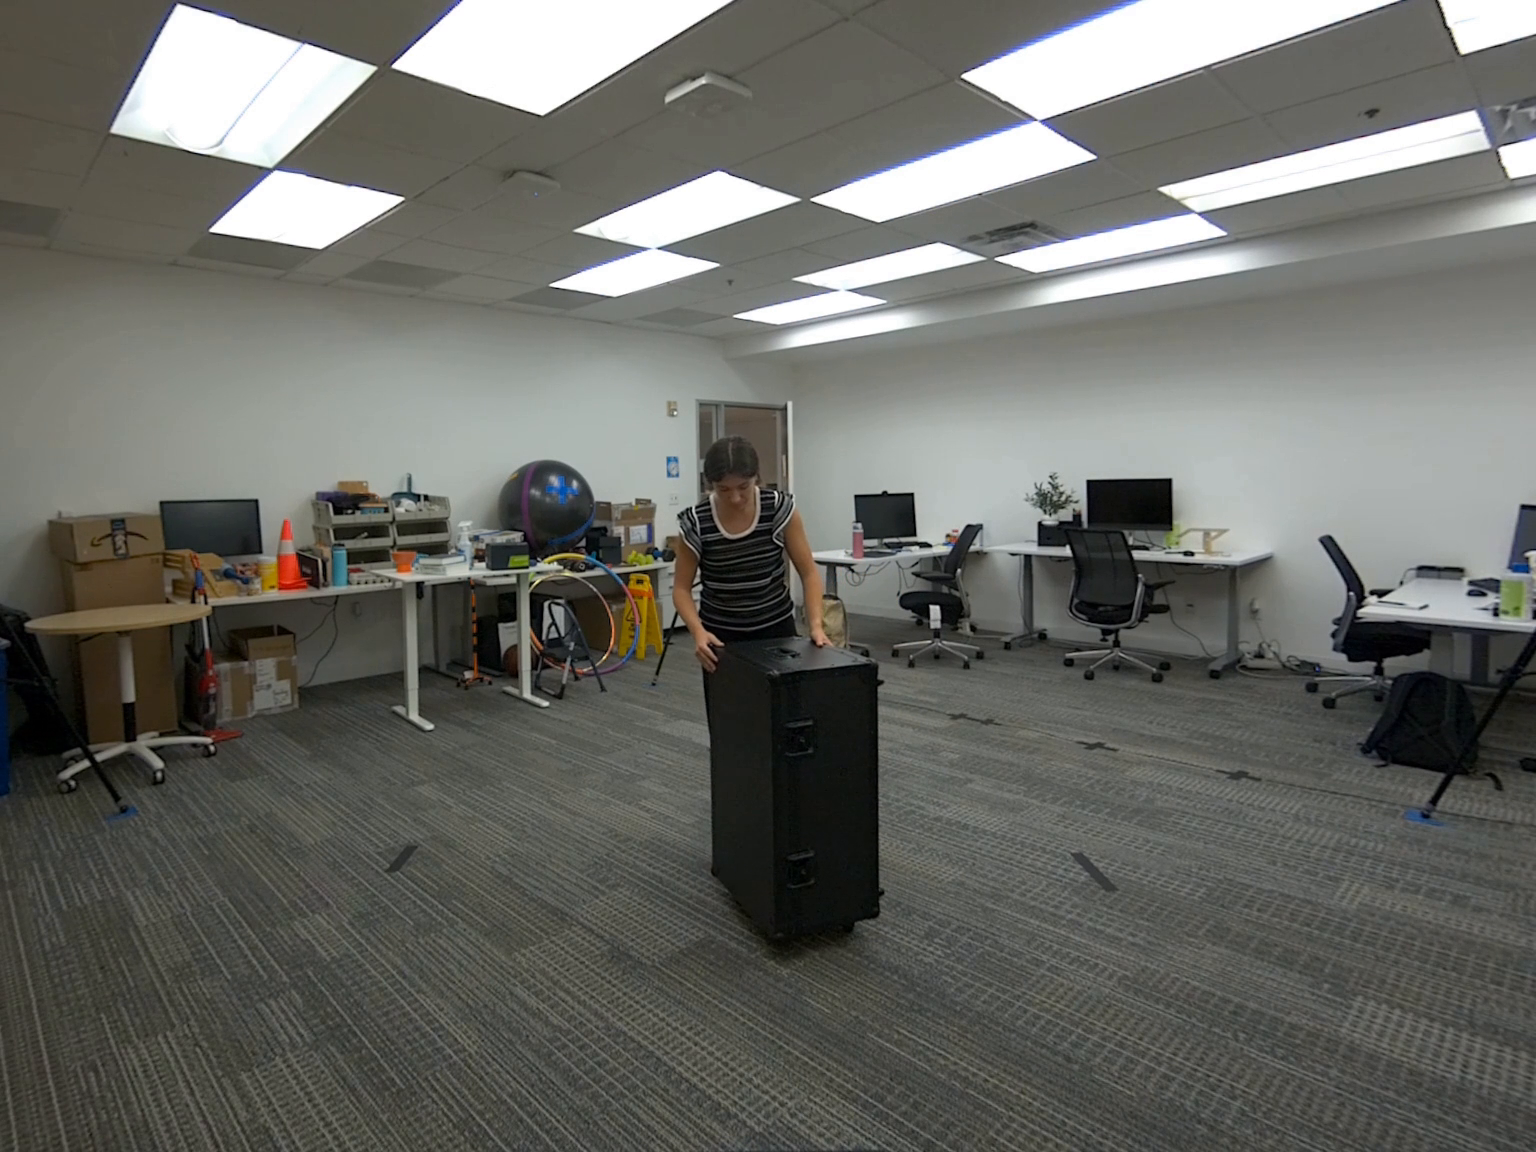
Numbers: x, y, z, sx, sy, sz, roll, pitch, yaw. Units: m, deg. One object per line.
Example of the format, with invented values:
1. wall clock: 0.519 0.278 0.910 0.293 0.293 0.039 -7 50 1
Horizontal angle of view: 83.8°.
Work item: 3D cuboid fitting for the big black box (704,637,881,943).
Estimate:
1. big black box: 0.084 0.665 2.703 0.388 0.858 0.534 -2 5 -24
